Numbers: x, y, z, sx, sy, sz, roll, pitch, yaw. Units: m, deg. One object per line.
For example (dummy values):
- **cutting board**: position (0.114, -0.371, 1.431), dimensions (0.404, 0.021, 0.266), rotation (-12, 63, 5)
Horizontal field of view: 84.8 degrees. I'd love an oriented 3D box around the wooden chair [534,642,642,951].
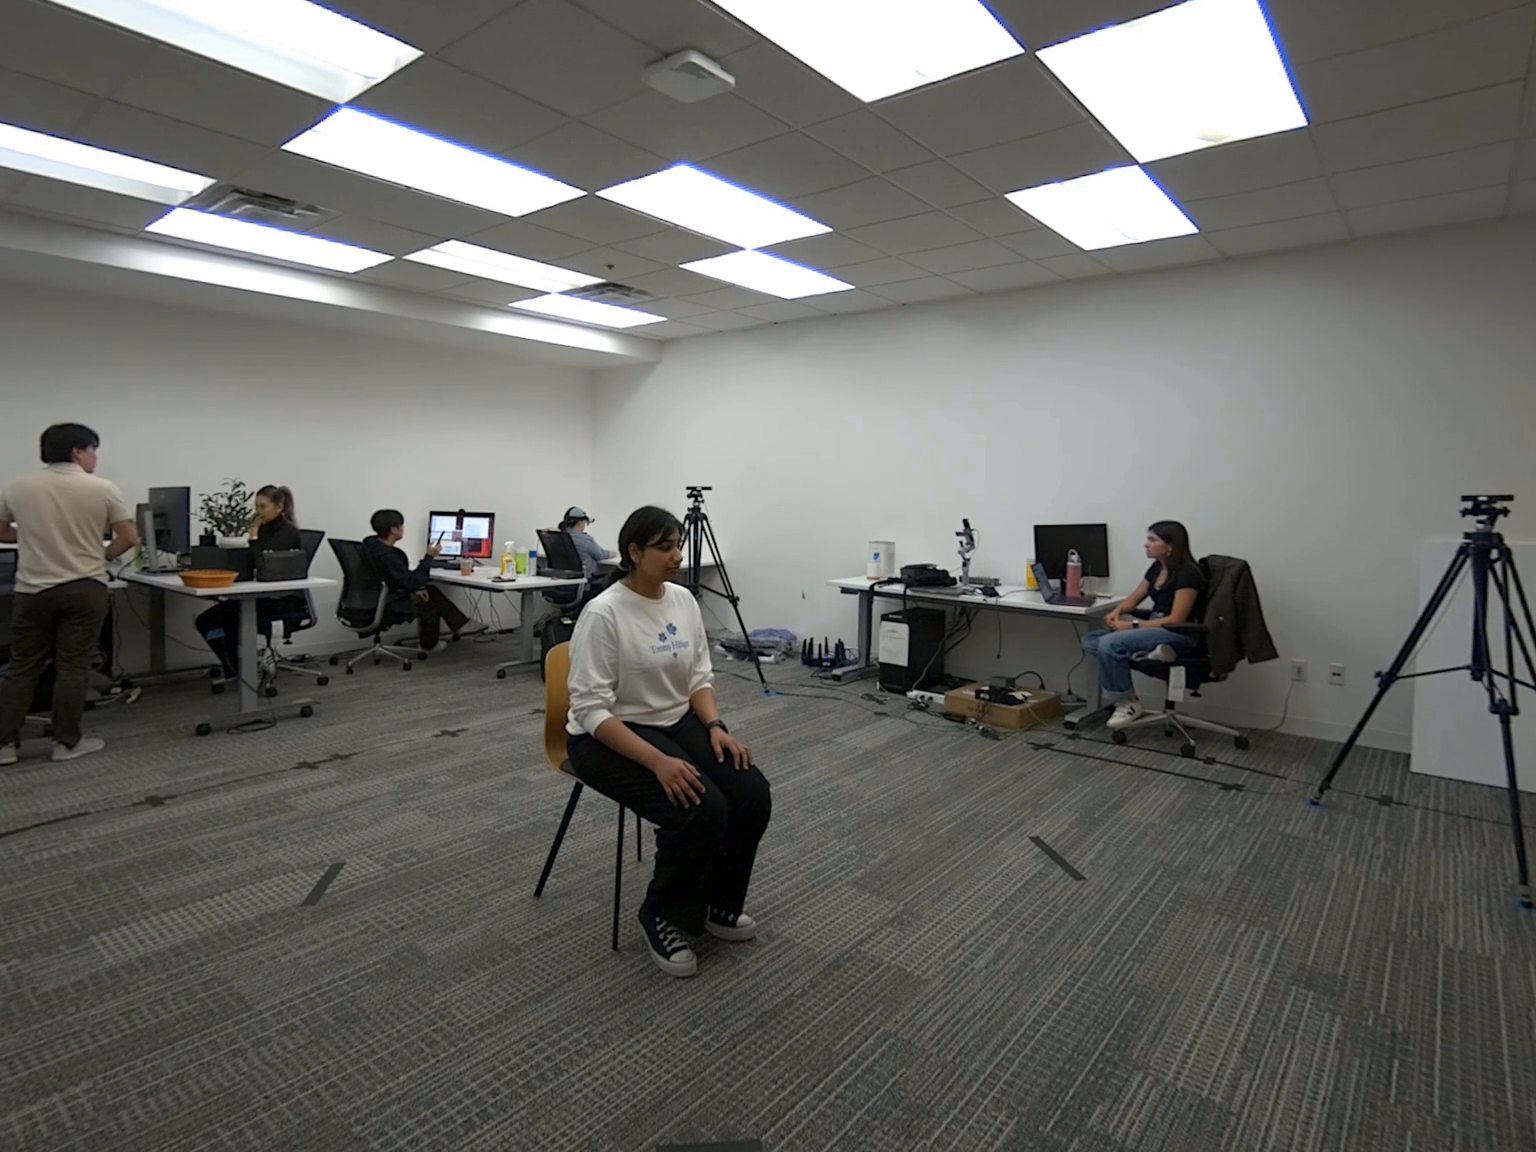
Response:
- **wooden chair**: position (-0.449, 0.659, 2.832), dimensions (0.463, 0.877, 0.539), rotation (-2, 1, -45)
